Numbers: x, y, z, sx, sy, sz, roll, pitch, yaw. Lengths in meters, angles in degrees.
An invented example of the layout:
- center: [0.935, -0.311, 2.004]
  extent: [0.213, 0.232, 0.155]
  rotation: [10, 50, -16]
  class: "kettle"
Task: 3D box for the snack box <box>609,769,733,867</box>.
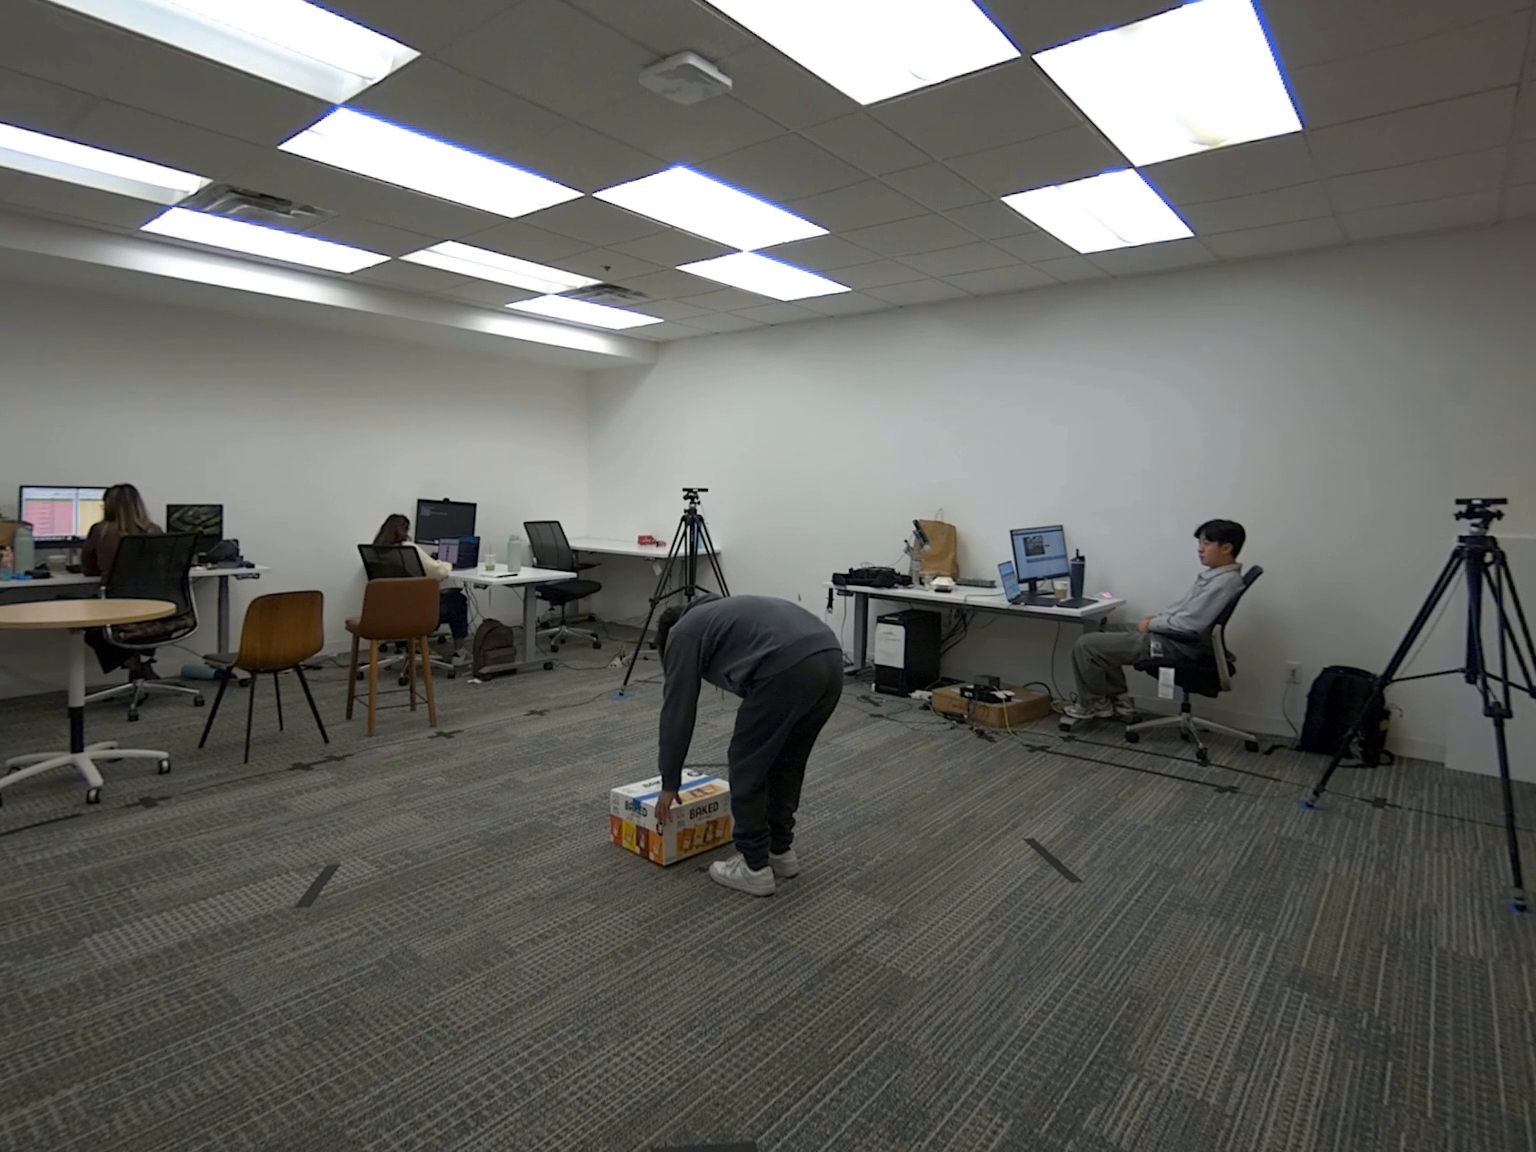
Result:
- center: [-0.373, 0.937, 3.357]
  extent: [0.393, 0.205, 0.351]
  rotation: [-4, 5, -44]
  class: "snack box"
